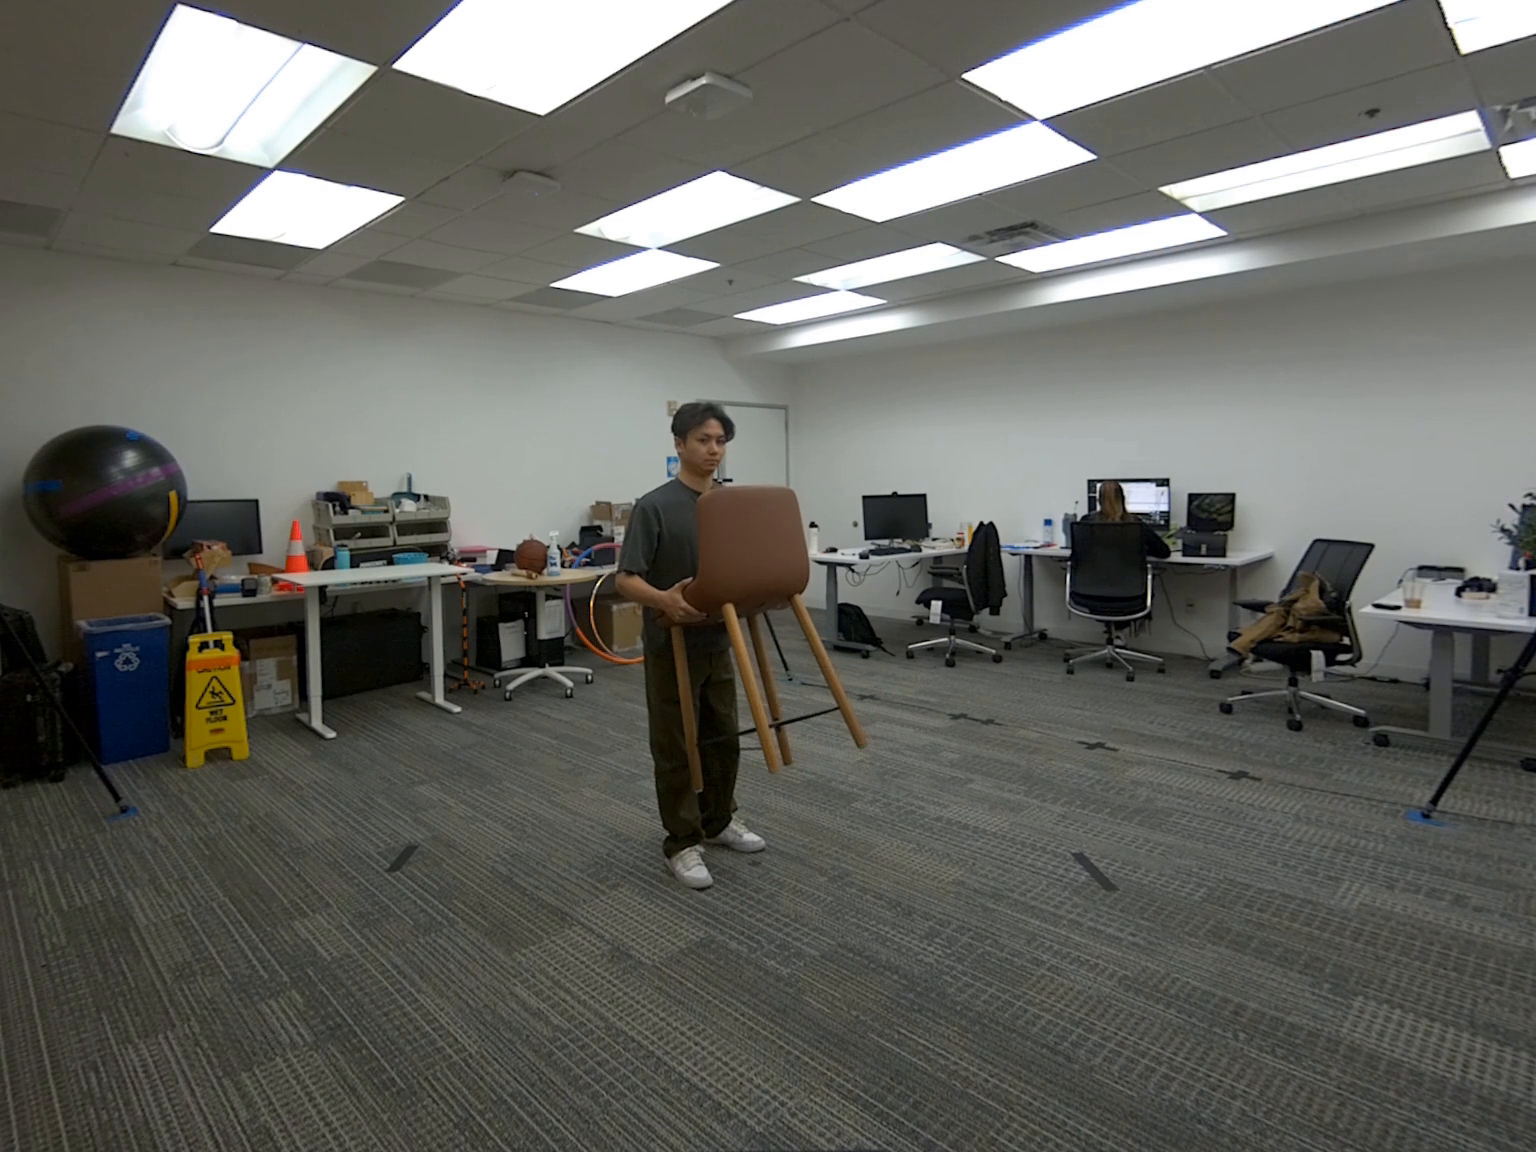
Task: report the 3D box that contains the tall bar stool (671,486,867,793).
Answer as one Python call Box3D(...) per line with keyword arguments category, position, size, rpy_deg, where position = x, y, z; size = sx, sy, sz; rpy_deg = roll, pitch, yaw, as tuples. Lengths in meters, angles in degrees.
Box3D(category="tall bar stool", position=(-0.071, 0.199, 2.821), size=(0.445, 0.903, 0.473), rpy_deg=(-5, -15, -36))
